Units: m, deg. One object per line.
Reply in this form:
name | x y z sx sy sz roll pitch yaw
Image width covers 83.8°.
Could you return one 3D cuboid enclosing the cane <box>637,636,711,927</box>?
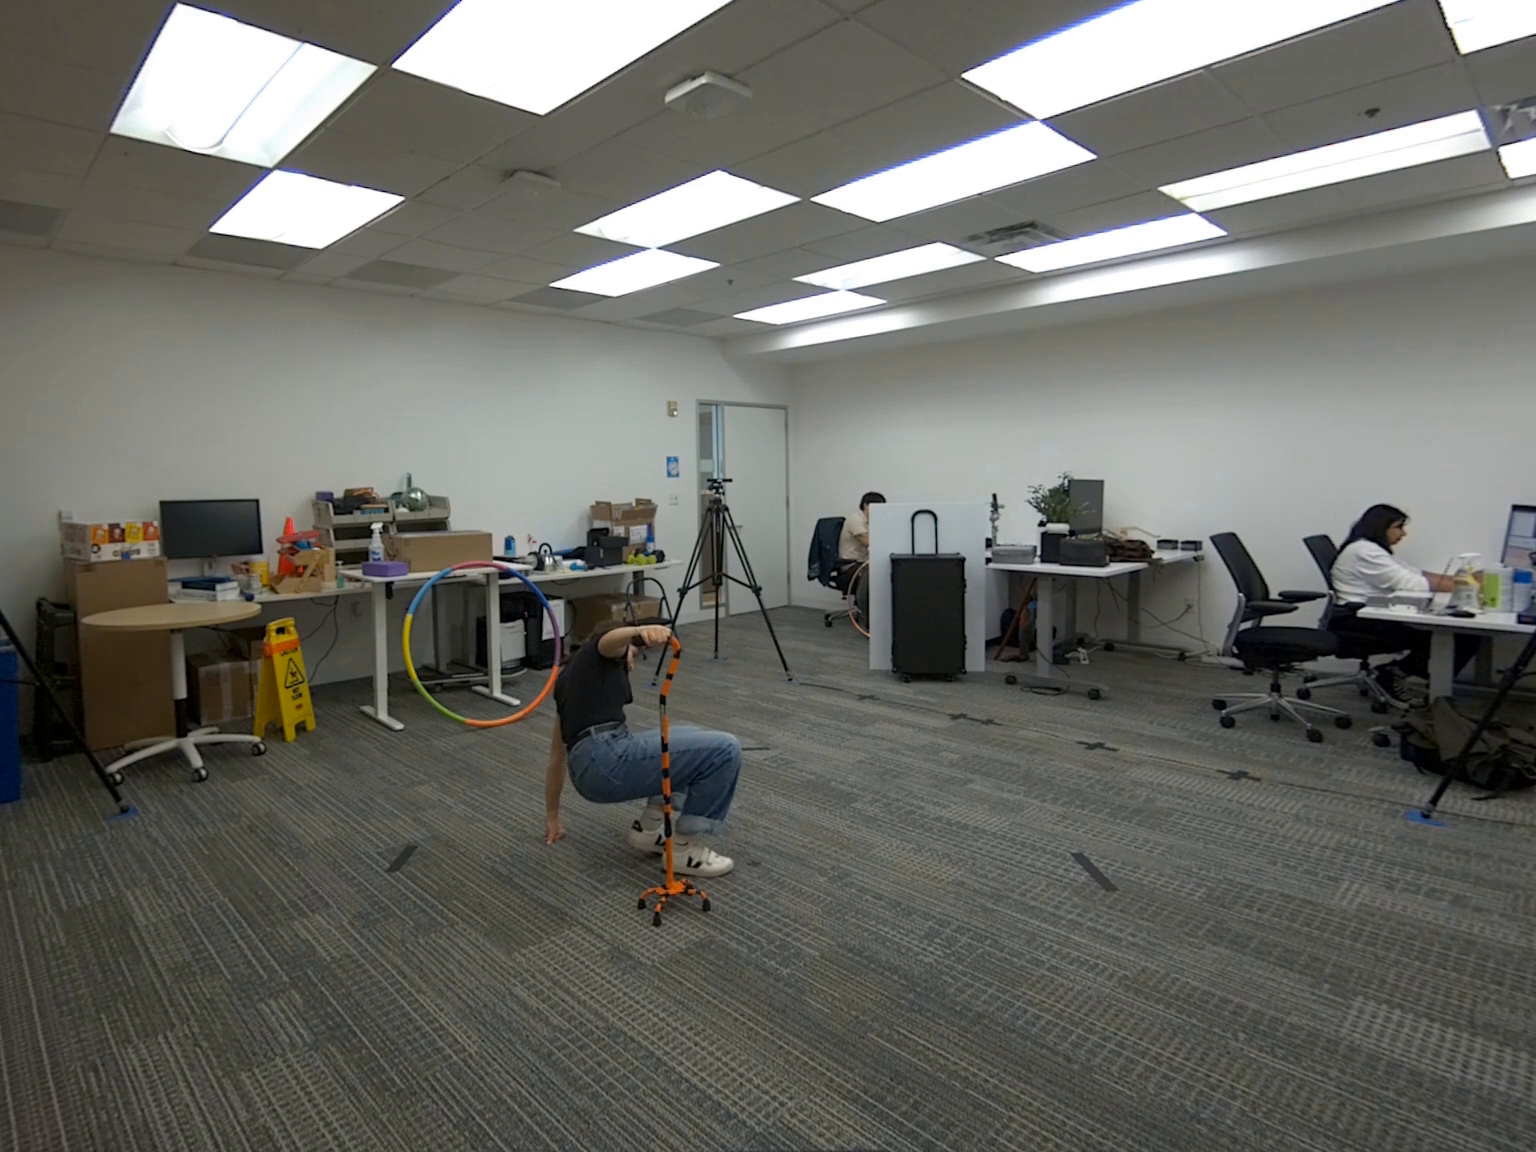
cane | -0.320 0.641 2.760 0.201 0.904 0.156 -4 5 -32
